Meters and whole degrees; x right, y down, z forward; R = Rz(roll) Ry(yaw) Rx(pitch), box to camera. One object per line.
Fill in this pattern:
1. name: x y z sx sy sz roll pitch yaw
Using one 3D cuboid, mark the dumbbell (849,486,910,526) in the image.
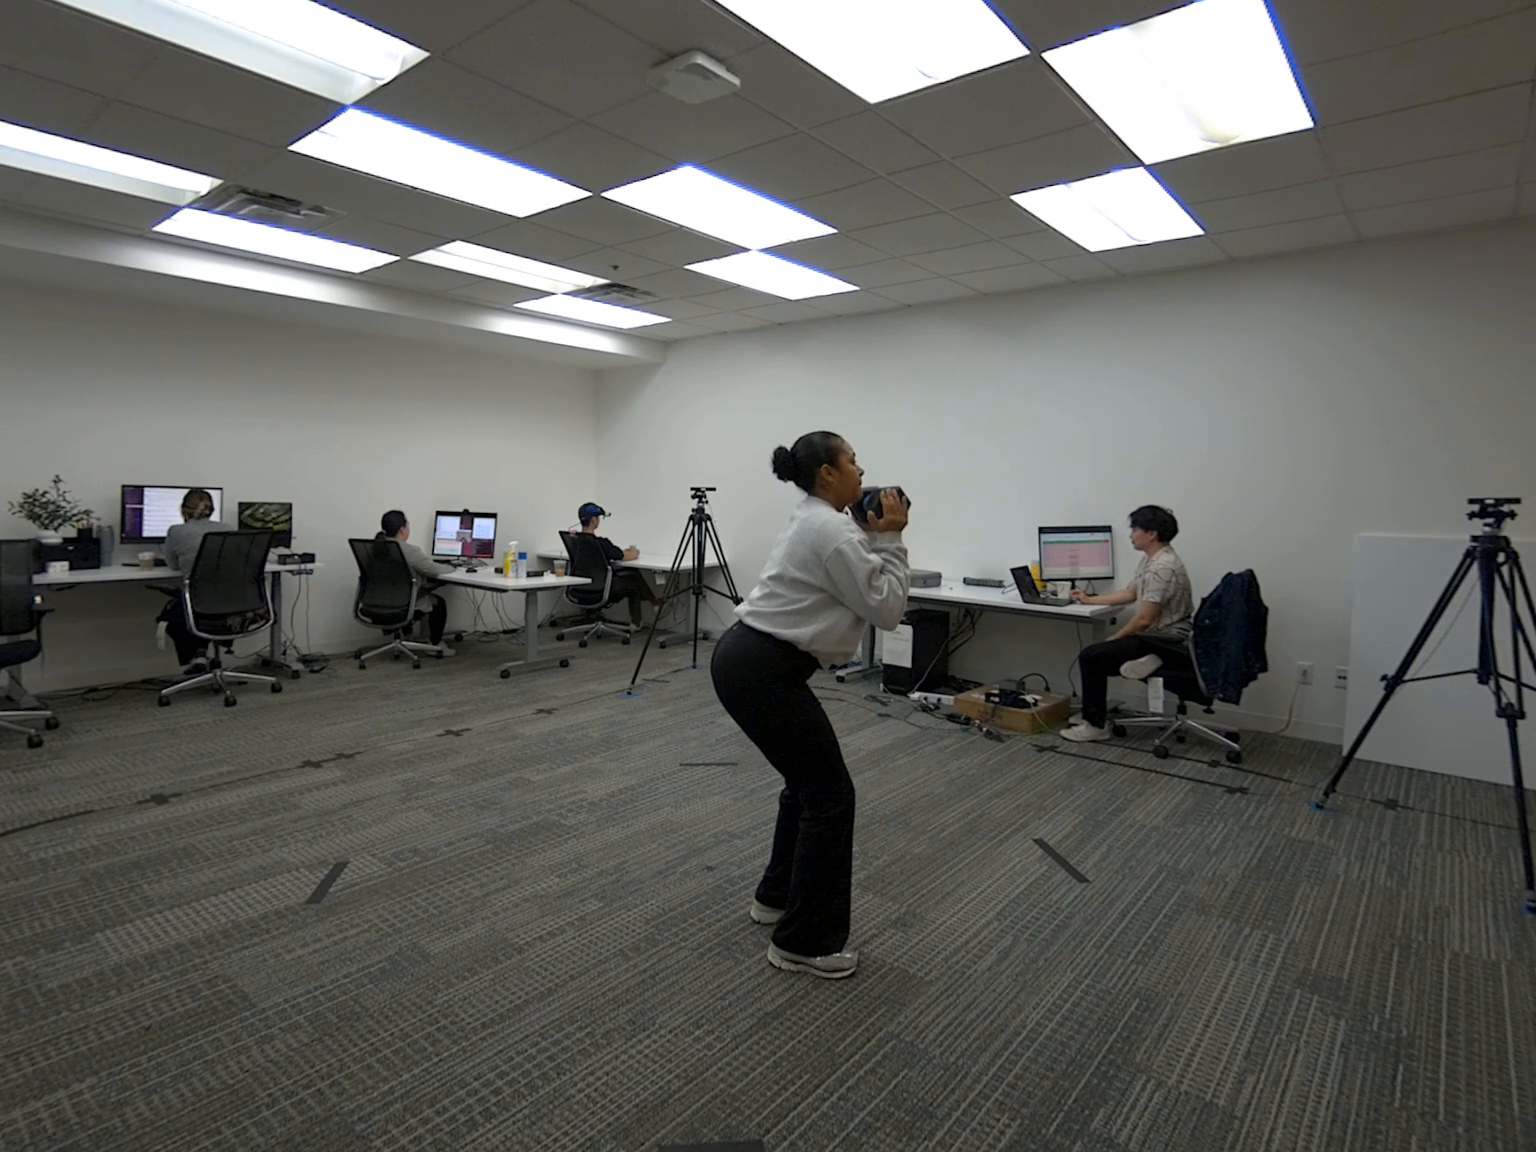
1. dumbbell: 0.324 -0.206 2.585 0.108 0.121 0.298 -38 11 -4
